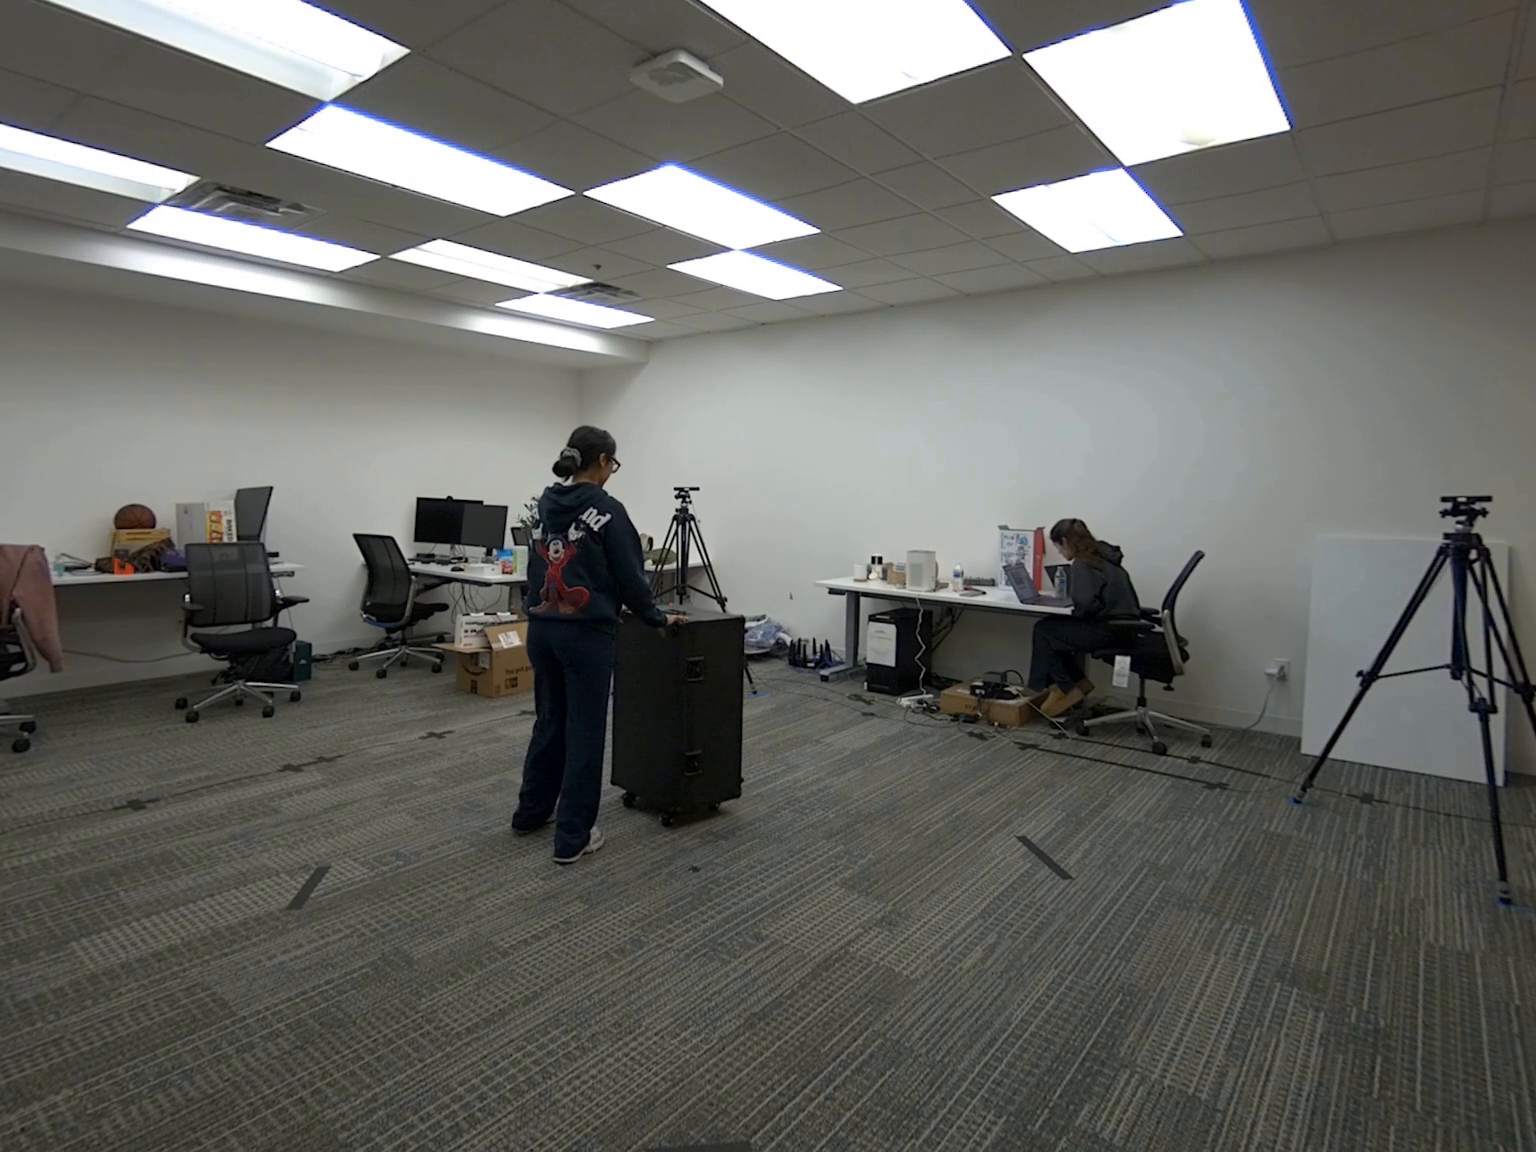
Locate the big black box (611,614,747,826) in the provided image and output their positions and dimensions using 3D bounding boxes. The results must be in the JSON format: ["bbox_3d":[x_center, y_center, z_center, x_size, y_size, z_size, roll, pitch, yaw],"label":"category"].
[{"bbox_3d":[-0.408,0.578,3.710,0.384,0.860,0.539,0,3,-41],"label":"big black box"}]
